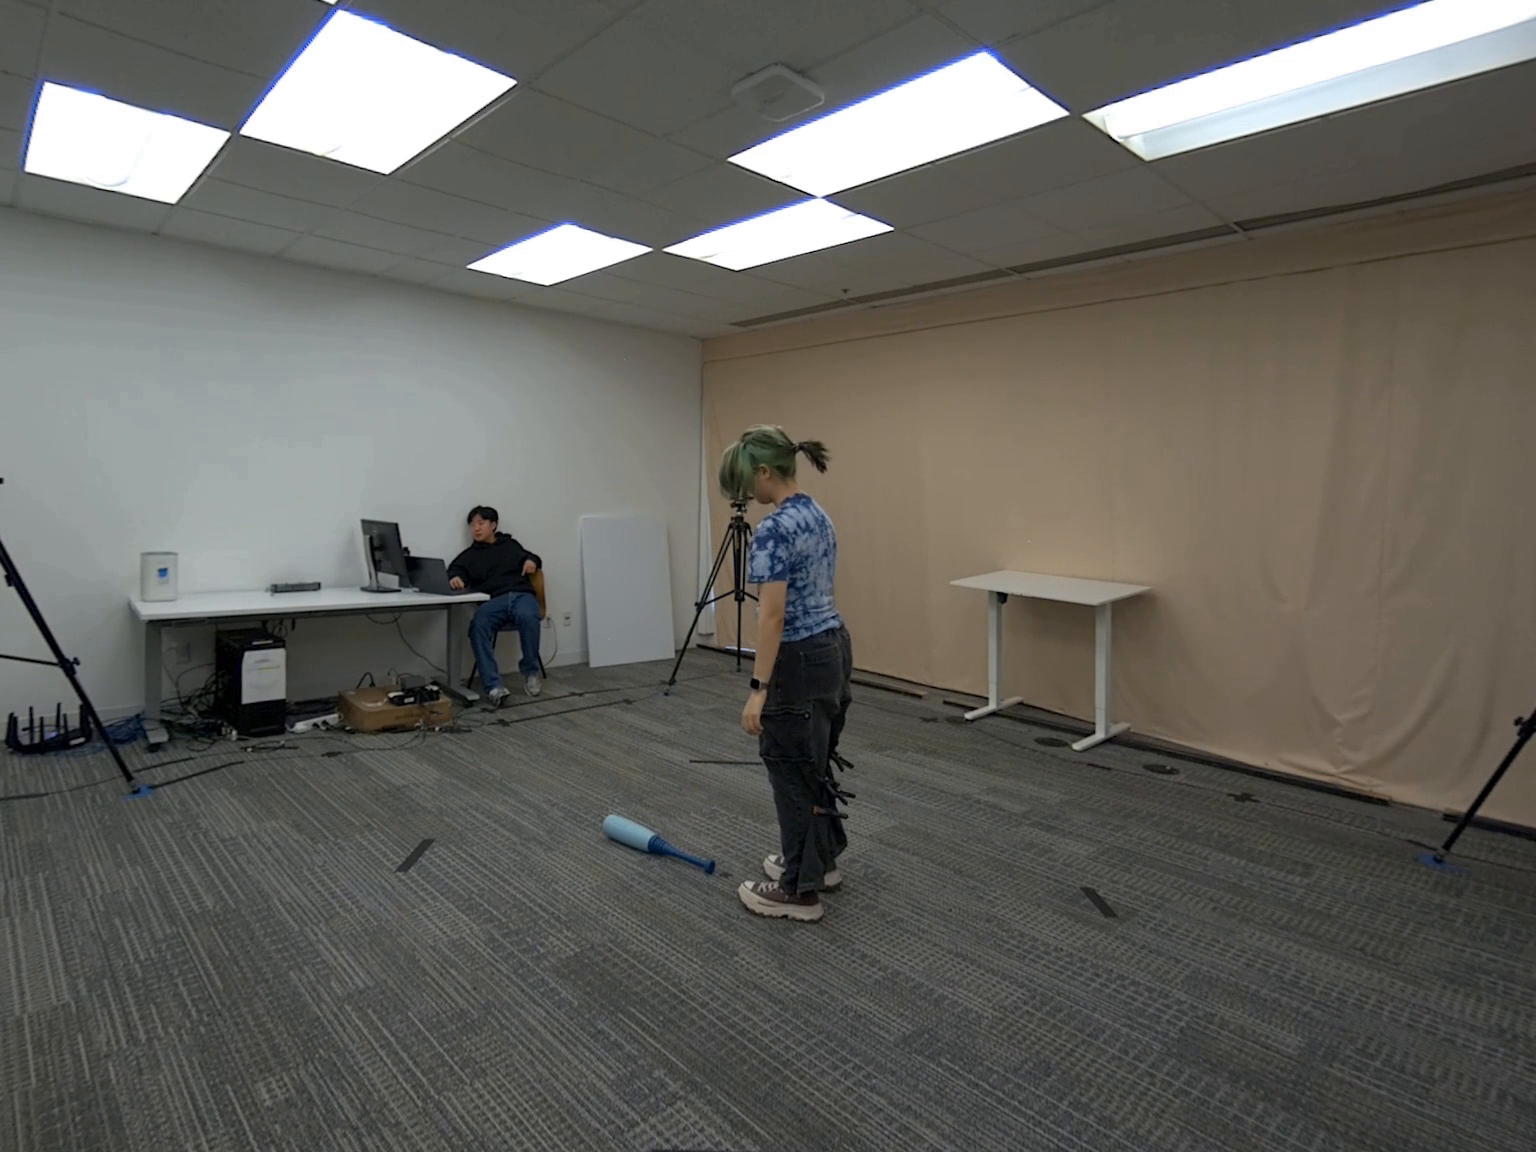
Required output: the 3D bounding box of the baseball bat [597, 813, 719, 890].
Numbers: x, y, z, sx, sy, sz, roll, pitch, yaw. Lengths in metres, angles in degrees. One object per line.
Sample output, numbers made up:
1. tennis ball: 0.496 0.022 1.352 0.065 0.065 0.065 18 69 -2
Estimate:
1. baseball bat: -0.436 1.052 3.263 0.557 0.089 0.087 9 8 36
